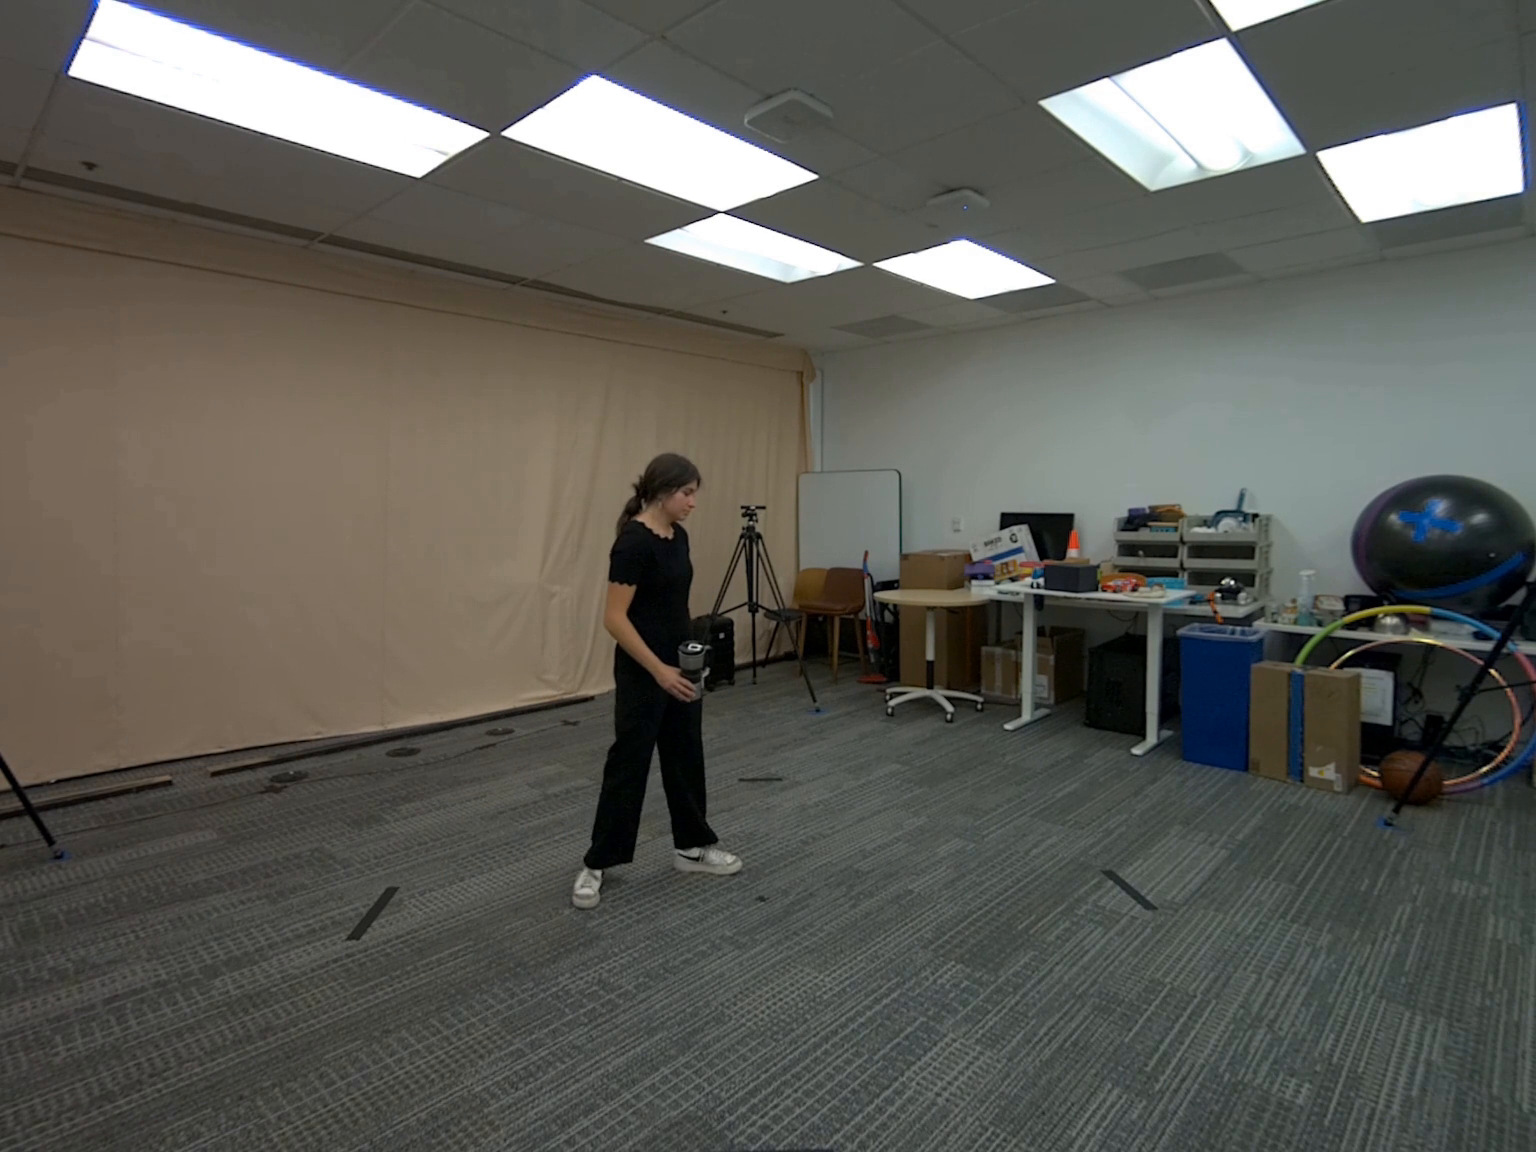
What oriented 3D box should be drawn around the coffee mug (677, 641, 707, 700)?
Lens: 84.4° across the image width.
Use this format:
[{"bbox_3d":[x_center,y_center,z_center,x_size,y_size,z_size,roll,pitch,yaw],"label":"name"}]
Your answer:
[{"bbox_3d":[-0.244,0.328,2.860,0.122,0.200,0.089,0,21,2],"label":"coffee mug"}]
